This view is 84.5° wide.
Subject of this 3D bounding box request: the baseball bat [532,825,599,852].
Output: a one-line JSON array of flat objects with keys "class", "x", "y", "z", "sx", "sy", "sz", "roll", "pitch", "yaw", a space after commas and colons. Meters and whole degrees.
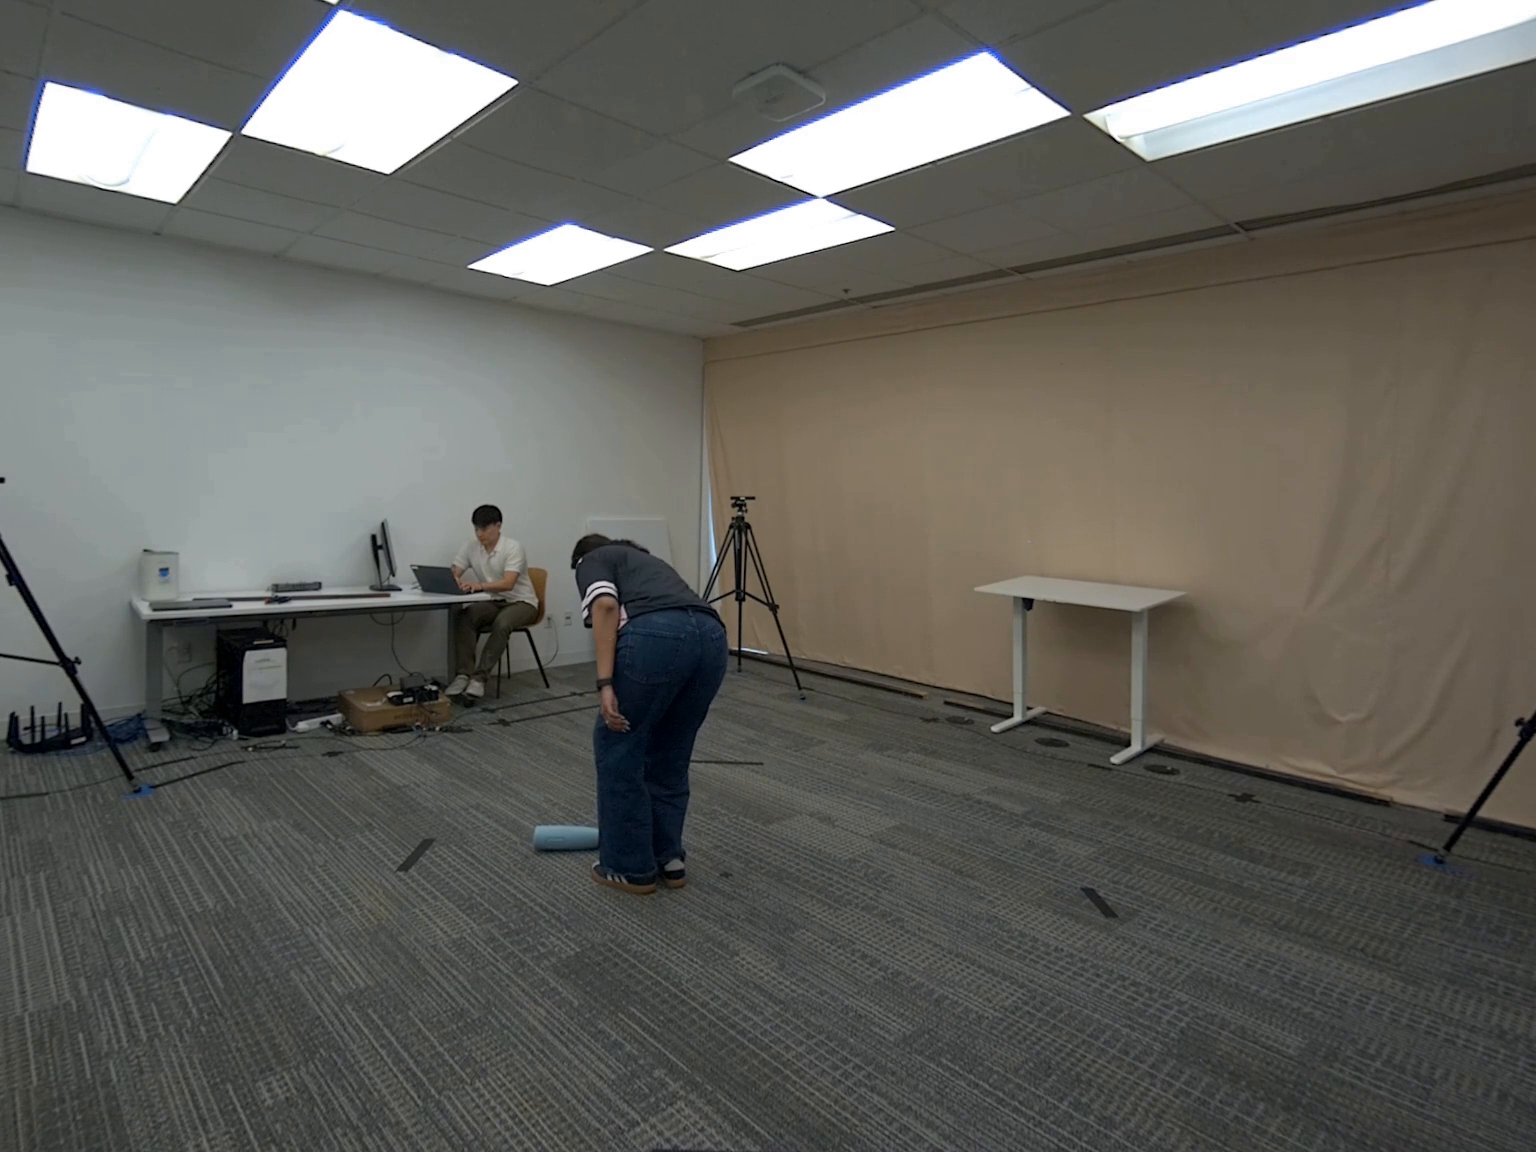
[{"class": "baseball bat", "x": -0.659, "y": 1.036, "z": 3.320, "sx": 0.538, "sy": 0.089, "sz": 0.090, "roll": 3, "pitch": 4, "yaw": -10}]
